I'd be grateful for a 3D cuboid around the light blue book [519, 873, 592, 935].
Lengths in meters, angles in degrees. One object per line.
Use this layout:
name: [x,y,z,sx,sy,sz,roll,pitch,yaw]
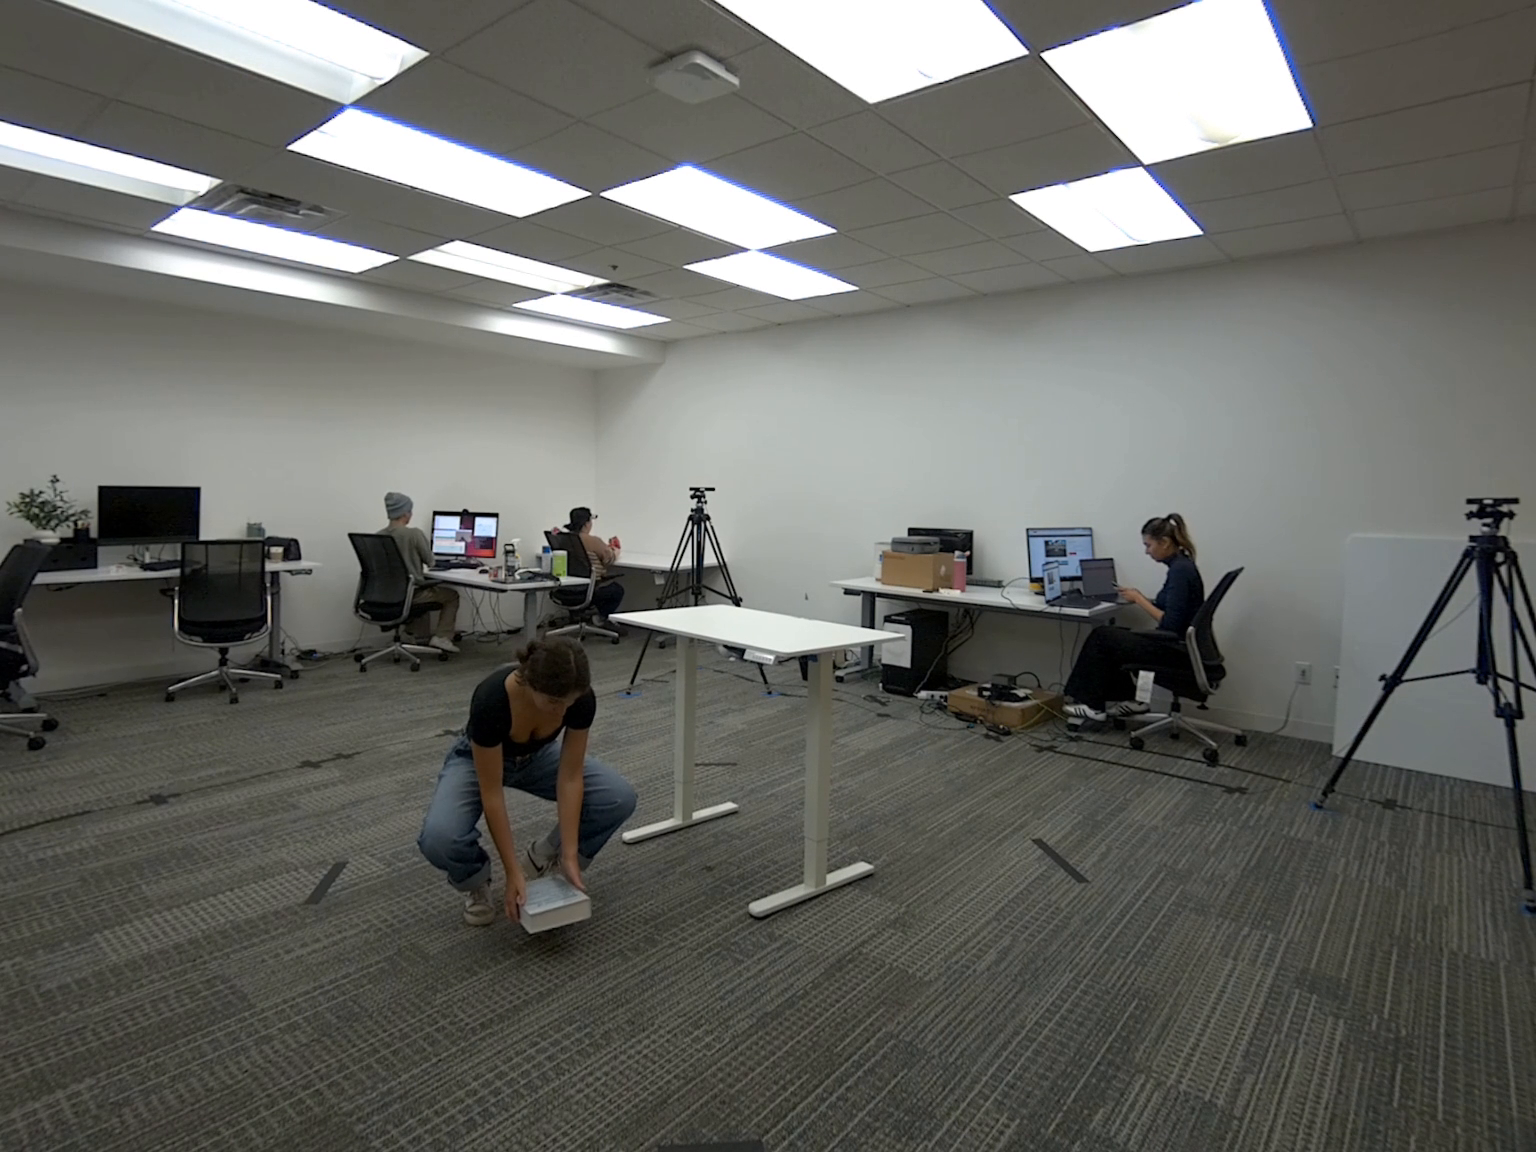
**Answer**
light blue book: [-0.694,0.997,2.577,0.186,0.059,0.268,-4,1,-31]
